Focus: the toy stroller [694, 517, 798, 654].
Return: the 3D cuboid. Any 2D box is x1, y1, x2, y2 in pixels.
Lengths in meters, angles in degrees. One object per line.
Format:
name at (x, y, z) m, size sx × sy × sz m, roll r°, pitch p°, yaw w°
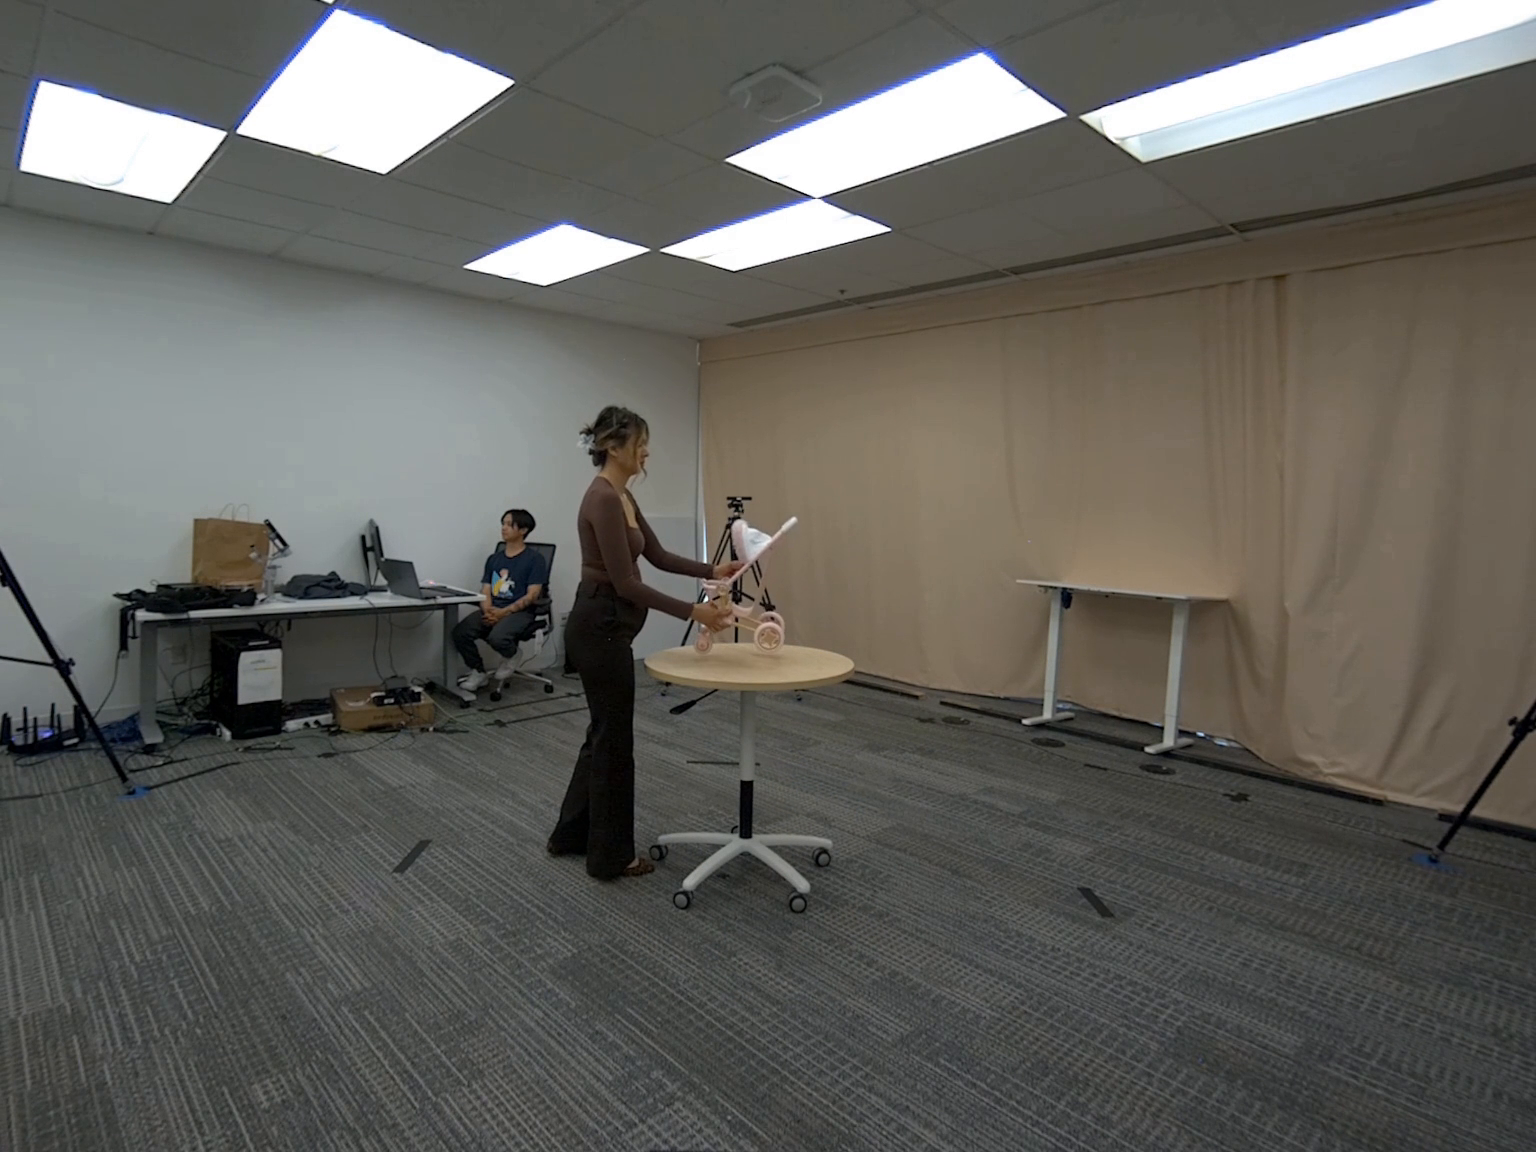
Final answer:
toy stroller at (-0.096, 0.035, 3.086) m, size 0.343 × 0.533 × 0.281 m, roll 6°, pitch 6°, yaw 6°
